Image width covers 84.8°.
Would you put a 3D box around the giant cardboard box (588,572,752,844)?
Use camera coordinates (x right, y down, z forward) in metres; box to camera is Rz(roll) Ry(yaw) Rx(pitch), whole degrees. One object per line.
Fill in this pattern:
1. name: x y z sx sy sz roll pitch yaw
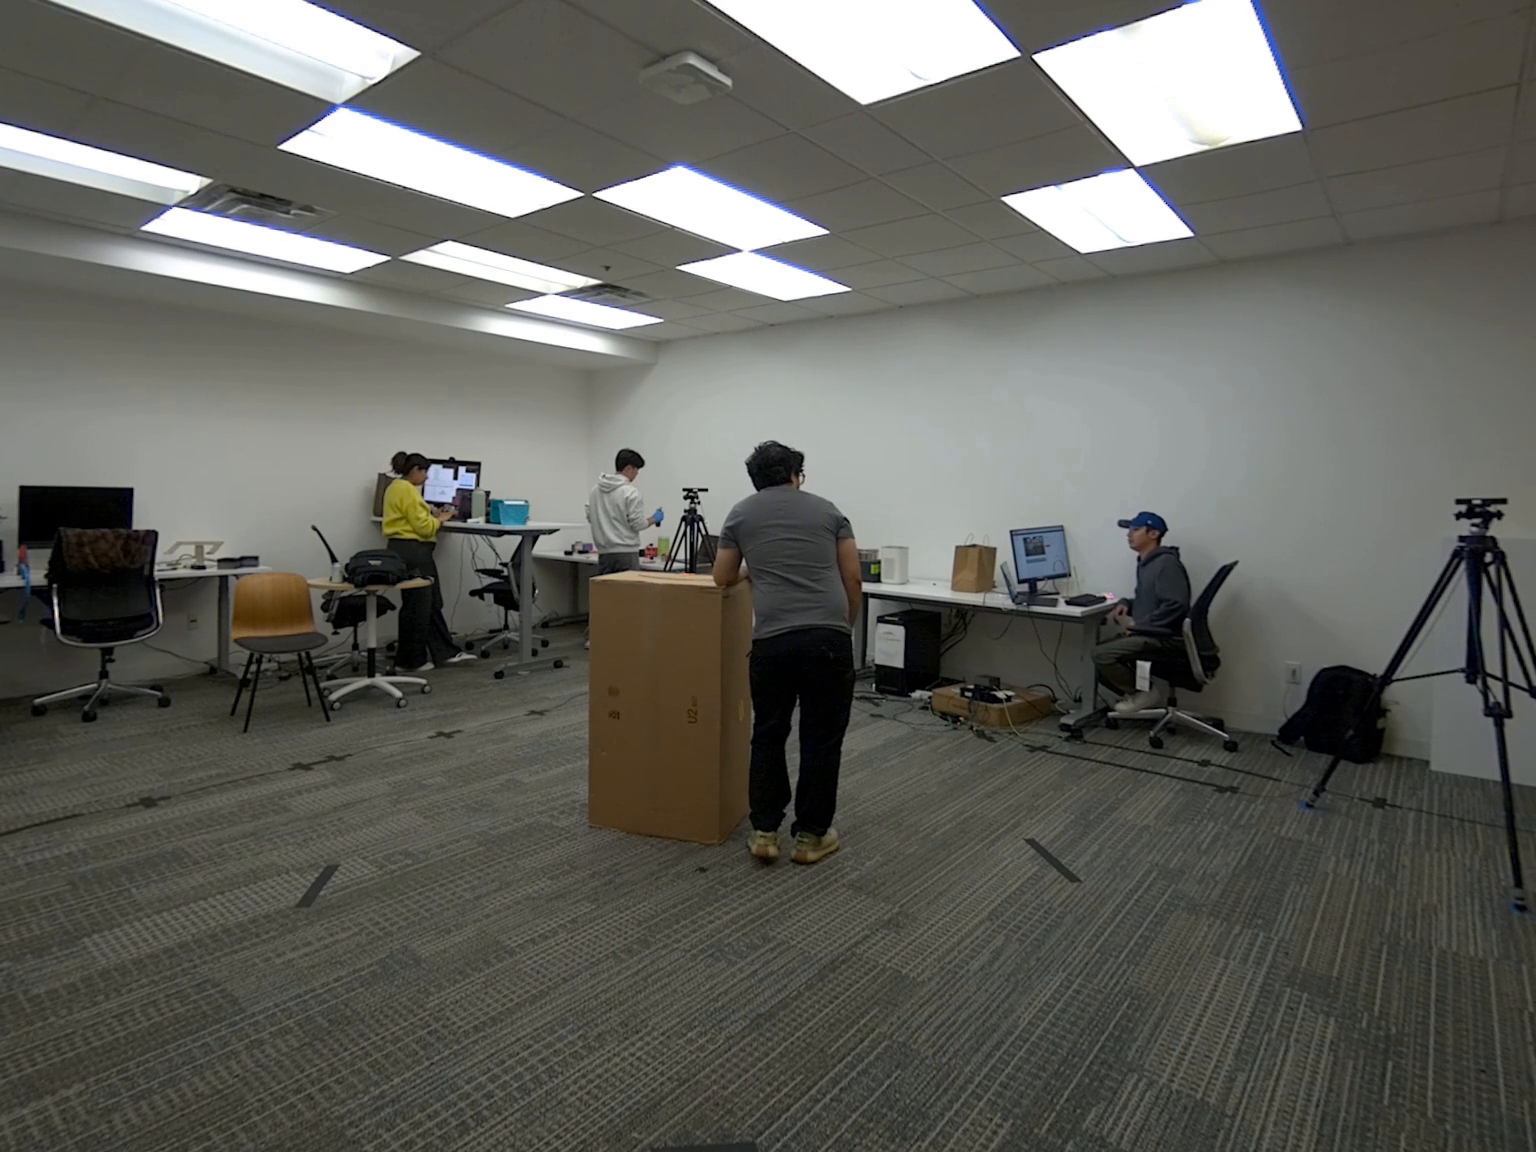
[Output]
1. giant cardboard box: -0.418 0.513 3.585 0.589 1.023 0.419 2 3 19
